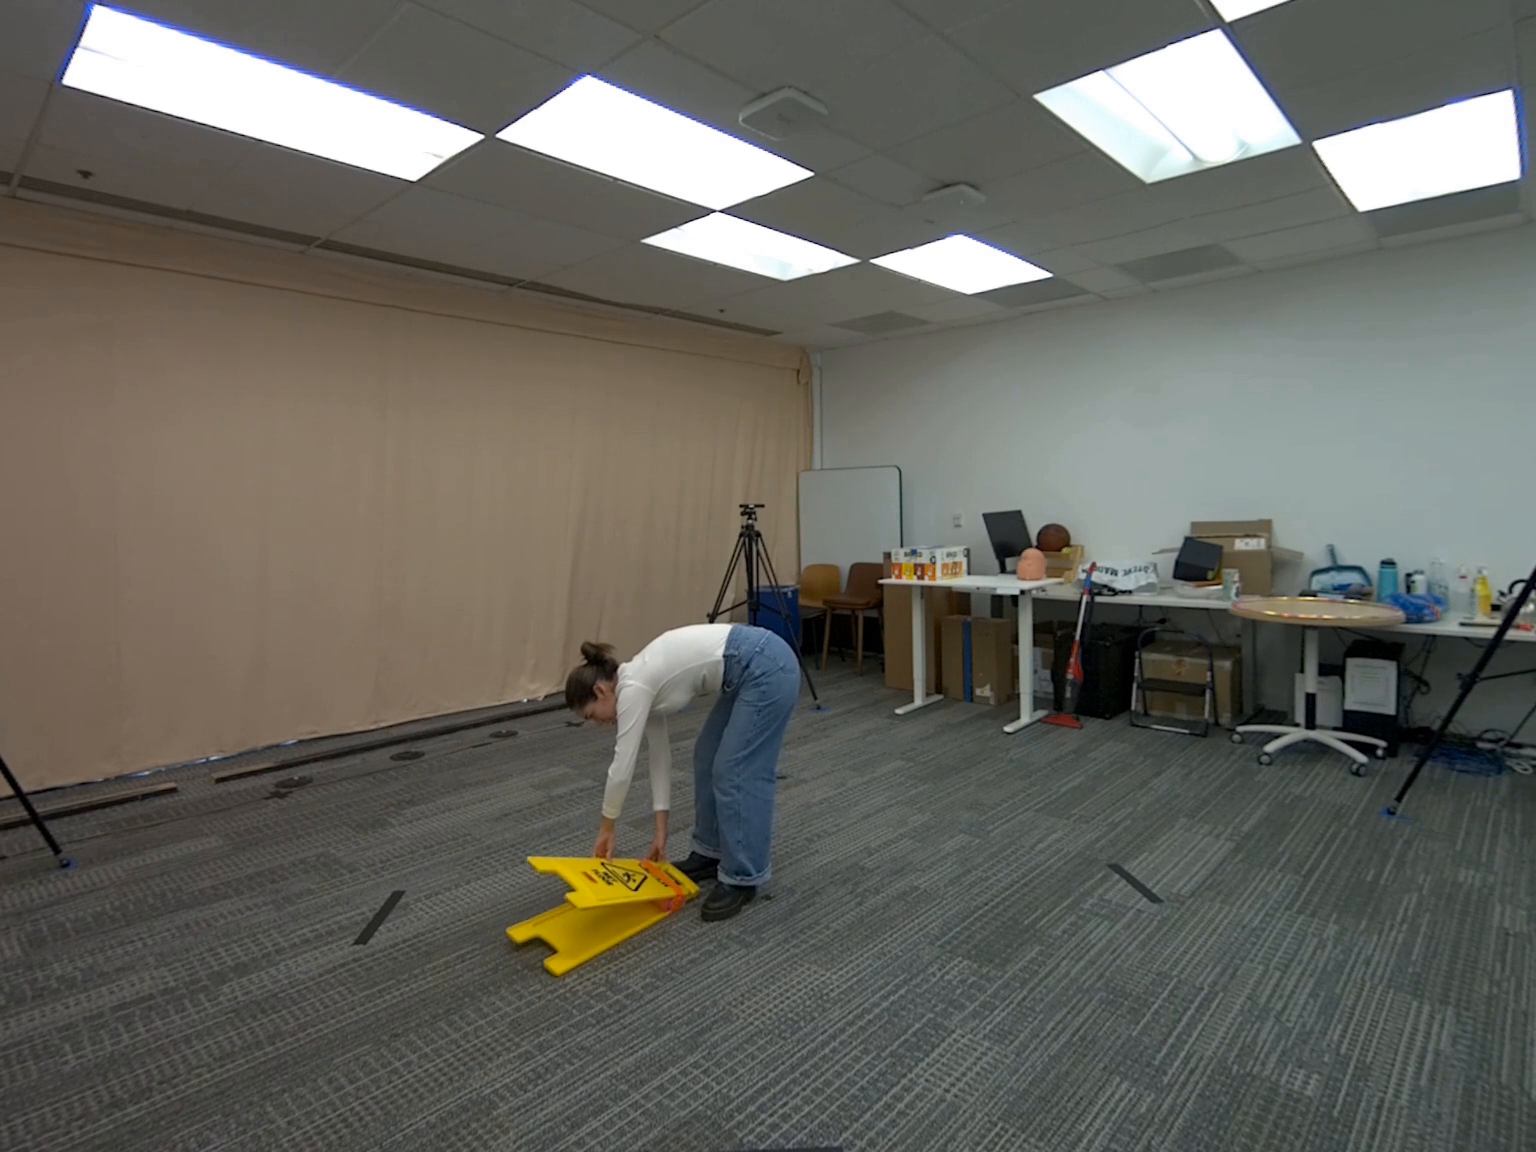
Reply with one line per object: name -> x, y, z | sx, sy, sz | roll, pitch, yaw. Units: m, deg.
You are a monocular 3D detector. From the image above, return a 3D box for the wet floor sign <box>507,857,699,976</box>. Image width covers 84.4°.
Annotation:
wet floor sign -> -0.507, 1.078, 2.810 | 0.292, 0.289, 0.624 | 22, 7, 39
